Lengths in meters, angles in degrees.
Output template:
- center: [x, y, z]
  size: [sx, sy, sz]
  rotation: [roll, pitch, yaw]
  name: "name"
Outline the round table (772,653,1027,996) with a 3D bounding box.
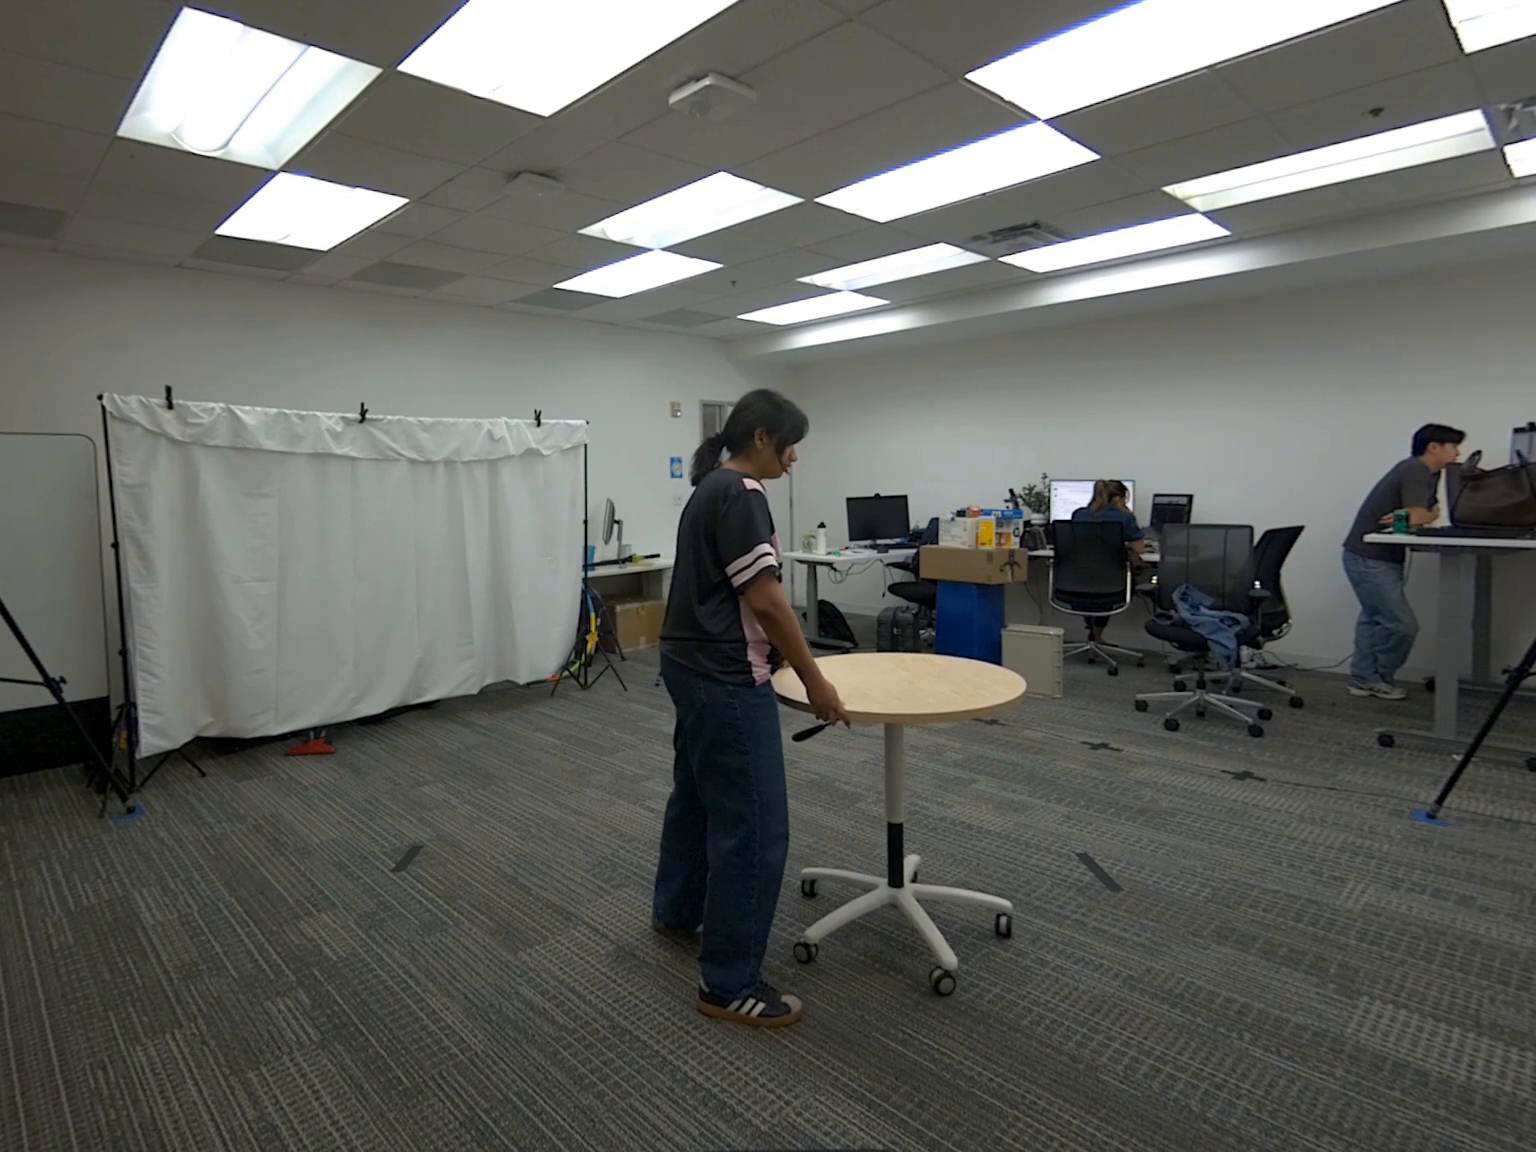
- center: [0.404, 0.701, 2.619]
  size: [0.784, 0.783, 0.789]
  rotation: [-2, 5, -2]
  name: "round table"
